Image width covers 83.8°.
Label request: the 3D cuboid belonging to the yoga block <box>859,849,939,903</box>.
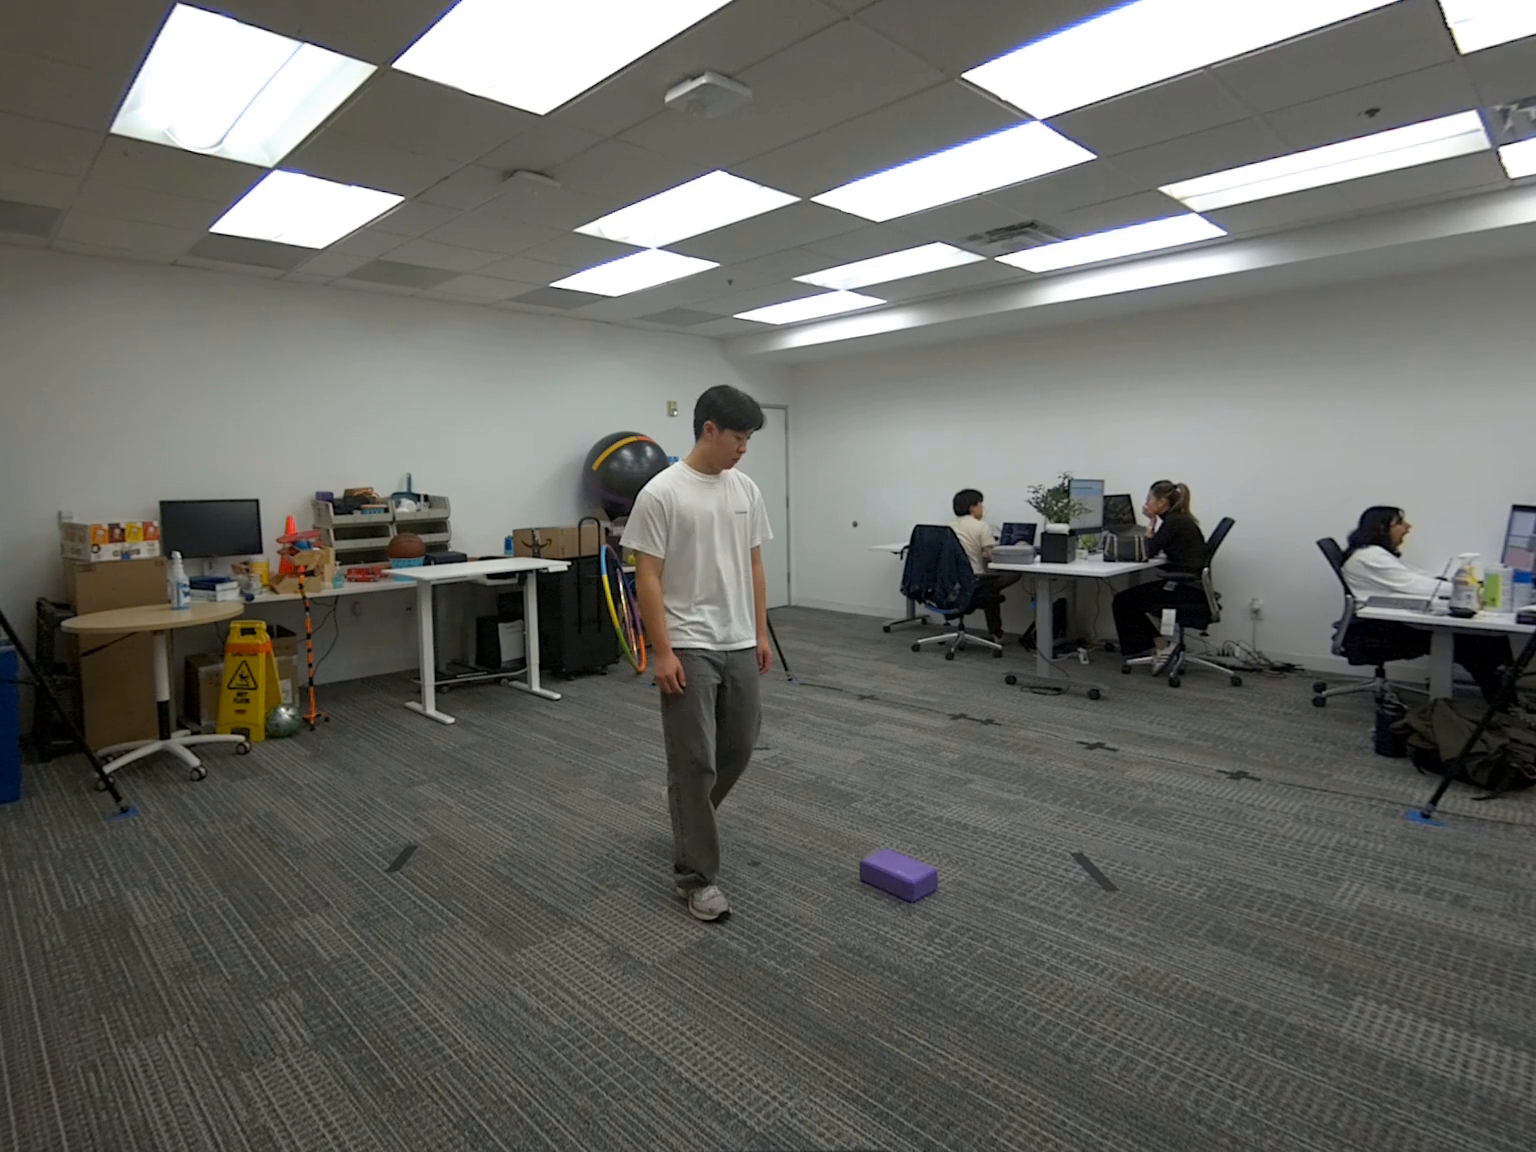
[{"bbox_3d":[0.448,1.019,2.919,0.145,0.076,0.236,-6,8,-42],"label":"yoga block"}]
